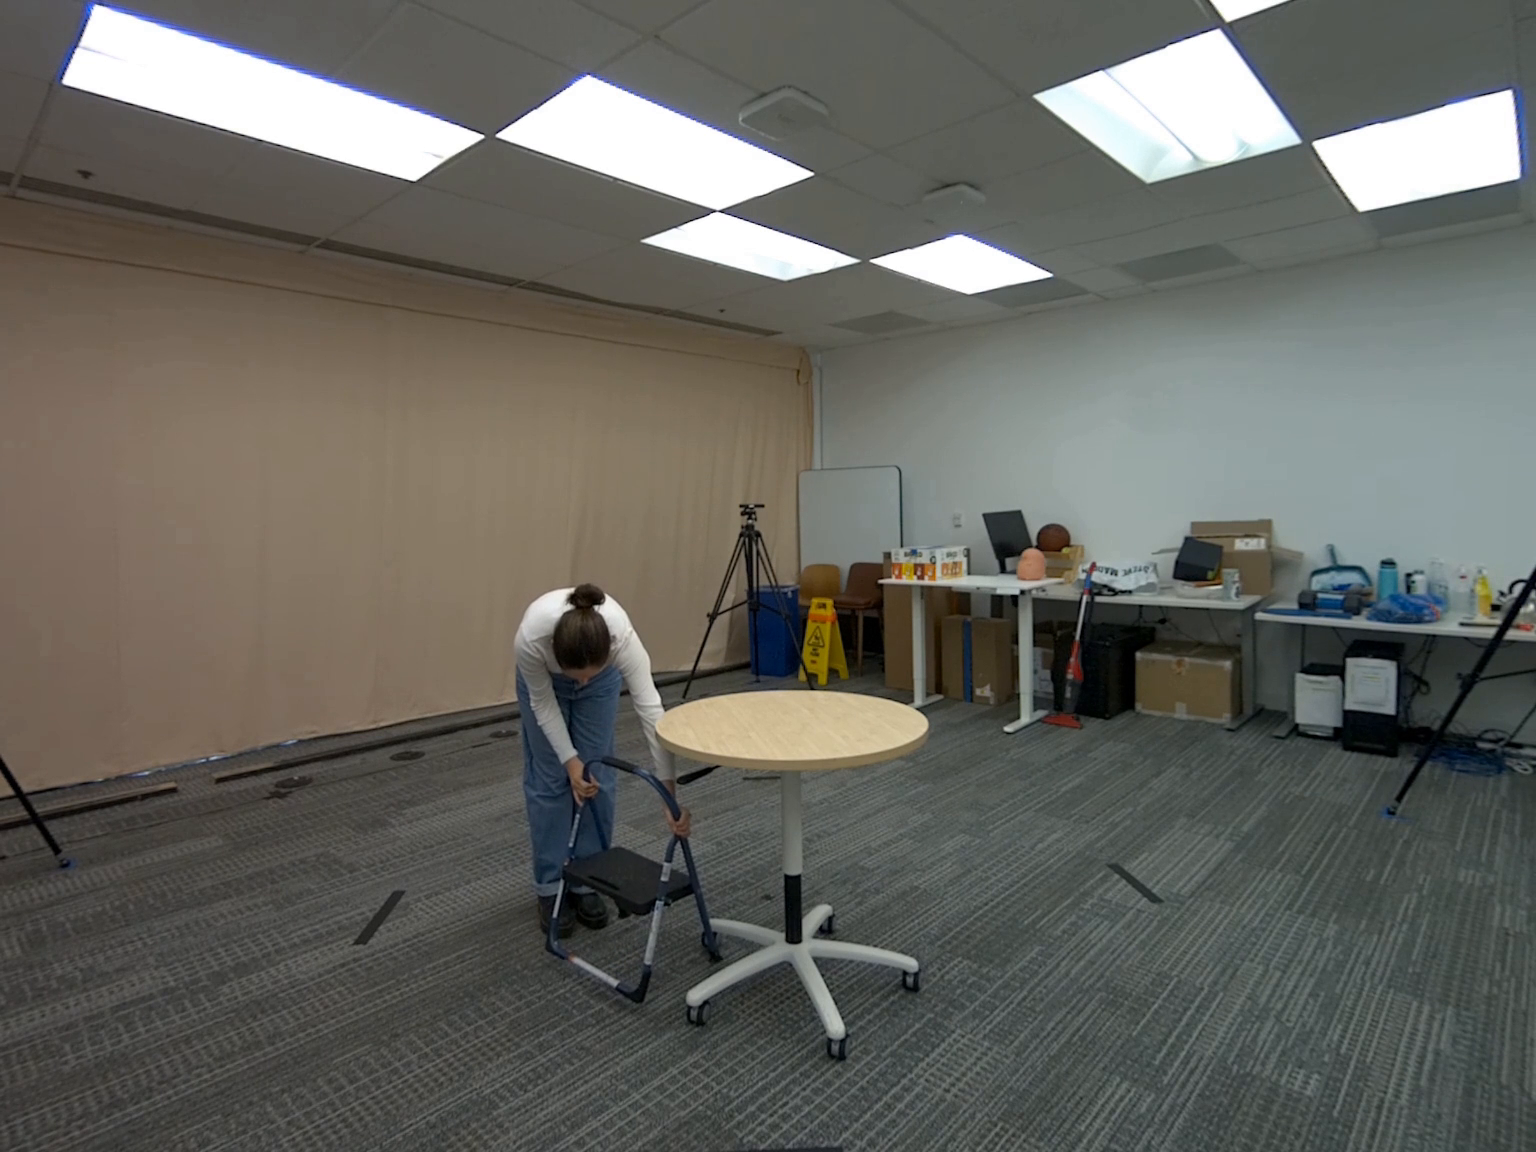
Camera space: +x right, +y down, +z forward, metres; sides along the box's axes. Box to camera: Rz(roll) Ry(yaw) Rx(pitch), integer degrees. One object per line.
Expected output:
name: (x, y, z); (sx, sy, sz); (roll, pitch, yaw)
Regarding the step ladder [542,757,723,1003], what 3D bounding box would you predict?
step ladder: (-0.396, 0.836, 2.524); (0.445, 0.605, 0.338); (5, 4, 38)
